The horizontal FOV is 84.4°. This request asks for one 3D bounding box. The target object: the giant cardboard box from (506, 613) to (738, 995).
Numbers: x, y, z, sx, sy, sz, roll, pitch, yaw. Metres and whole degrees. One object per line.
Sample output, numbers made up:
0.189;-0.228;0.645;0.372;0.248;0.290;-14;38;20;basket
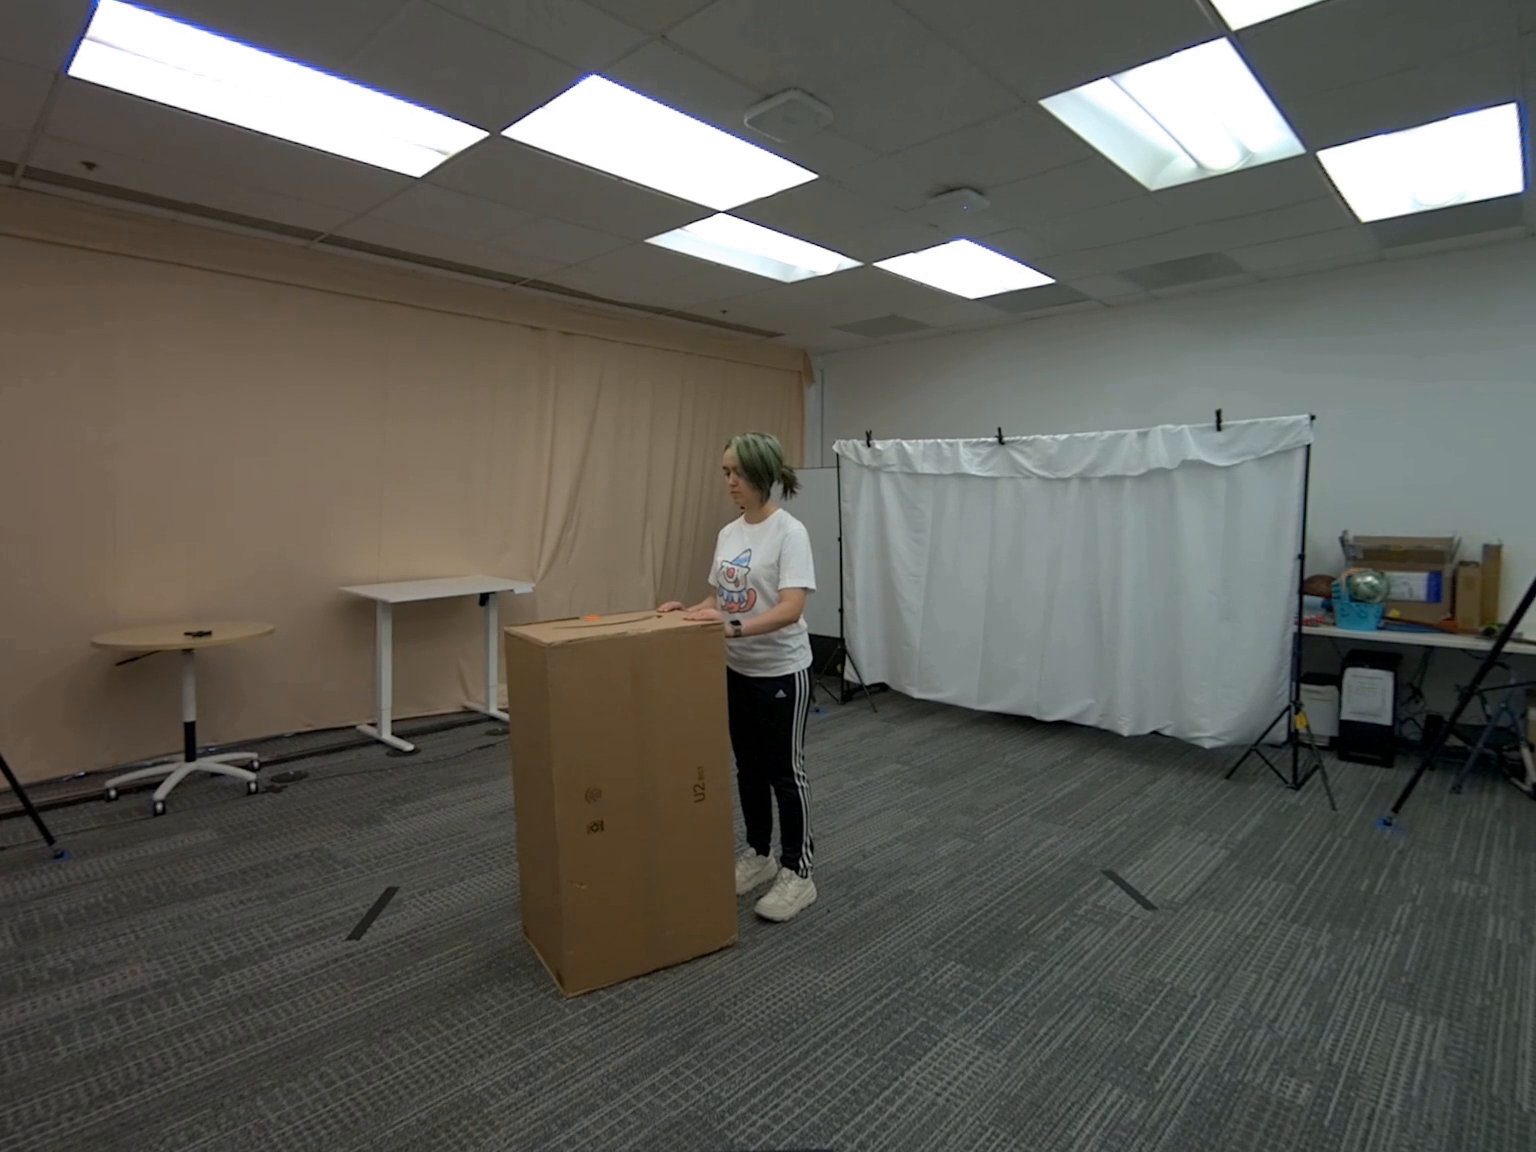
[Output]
-0.470;0.661;2.665;0.568;1.024;0.460;-5;5;-32;giant cardboard box
